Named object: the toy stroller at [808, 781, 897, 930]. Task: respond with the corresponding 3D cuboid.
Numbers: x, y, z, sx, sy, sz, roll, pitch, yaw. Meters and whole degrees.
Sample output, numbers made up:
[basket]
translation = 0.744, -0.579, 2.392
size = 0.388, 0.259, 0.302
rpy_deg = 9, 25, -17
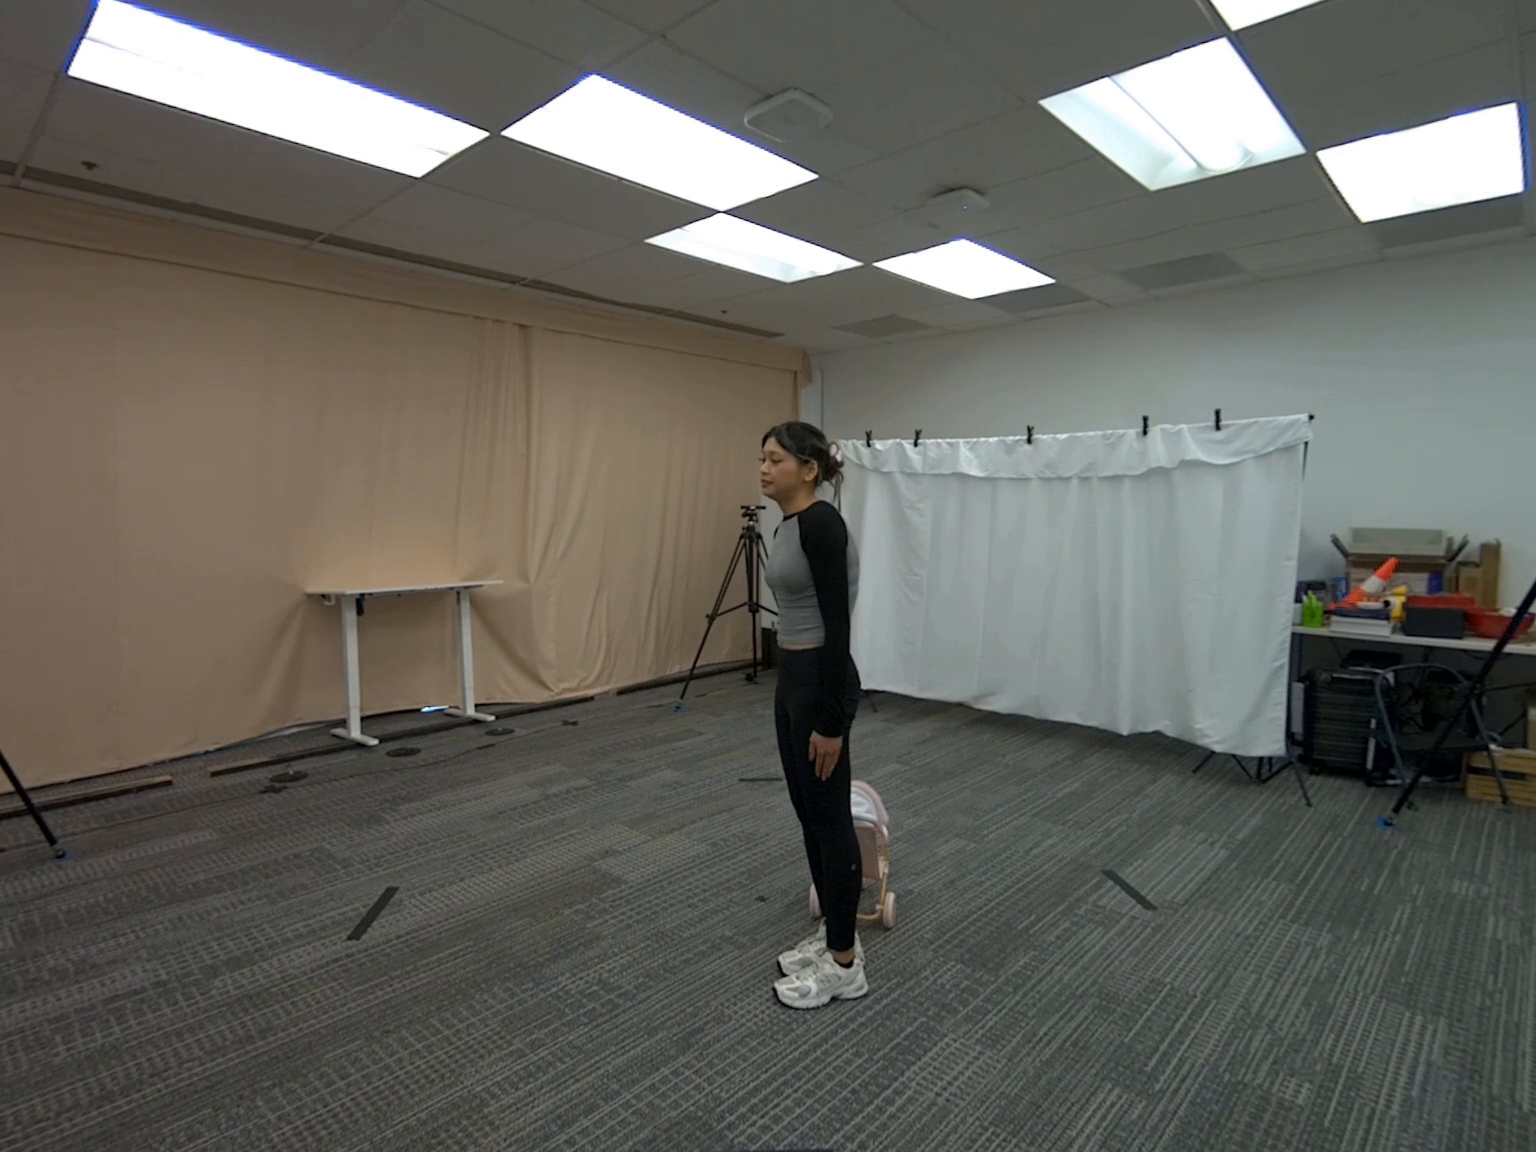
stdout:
[toy stroller]
translation = 0.301, 0.928, 2.867
size = 0.287, 0.528, 0.338
rpy_deg = 1, 20, 19
